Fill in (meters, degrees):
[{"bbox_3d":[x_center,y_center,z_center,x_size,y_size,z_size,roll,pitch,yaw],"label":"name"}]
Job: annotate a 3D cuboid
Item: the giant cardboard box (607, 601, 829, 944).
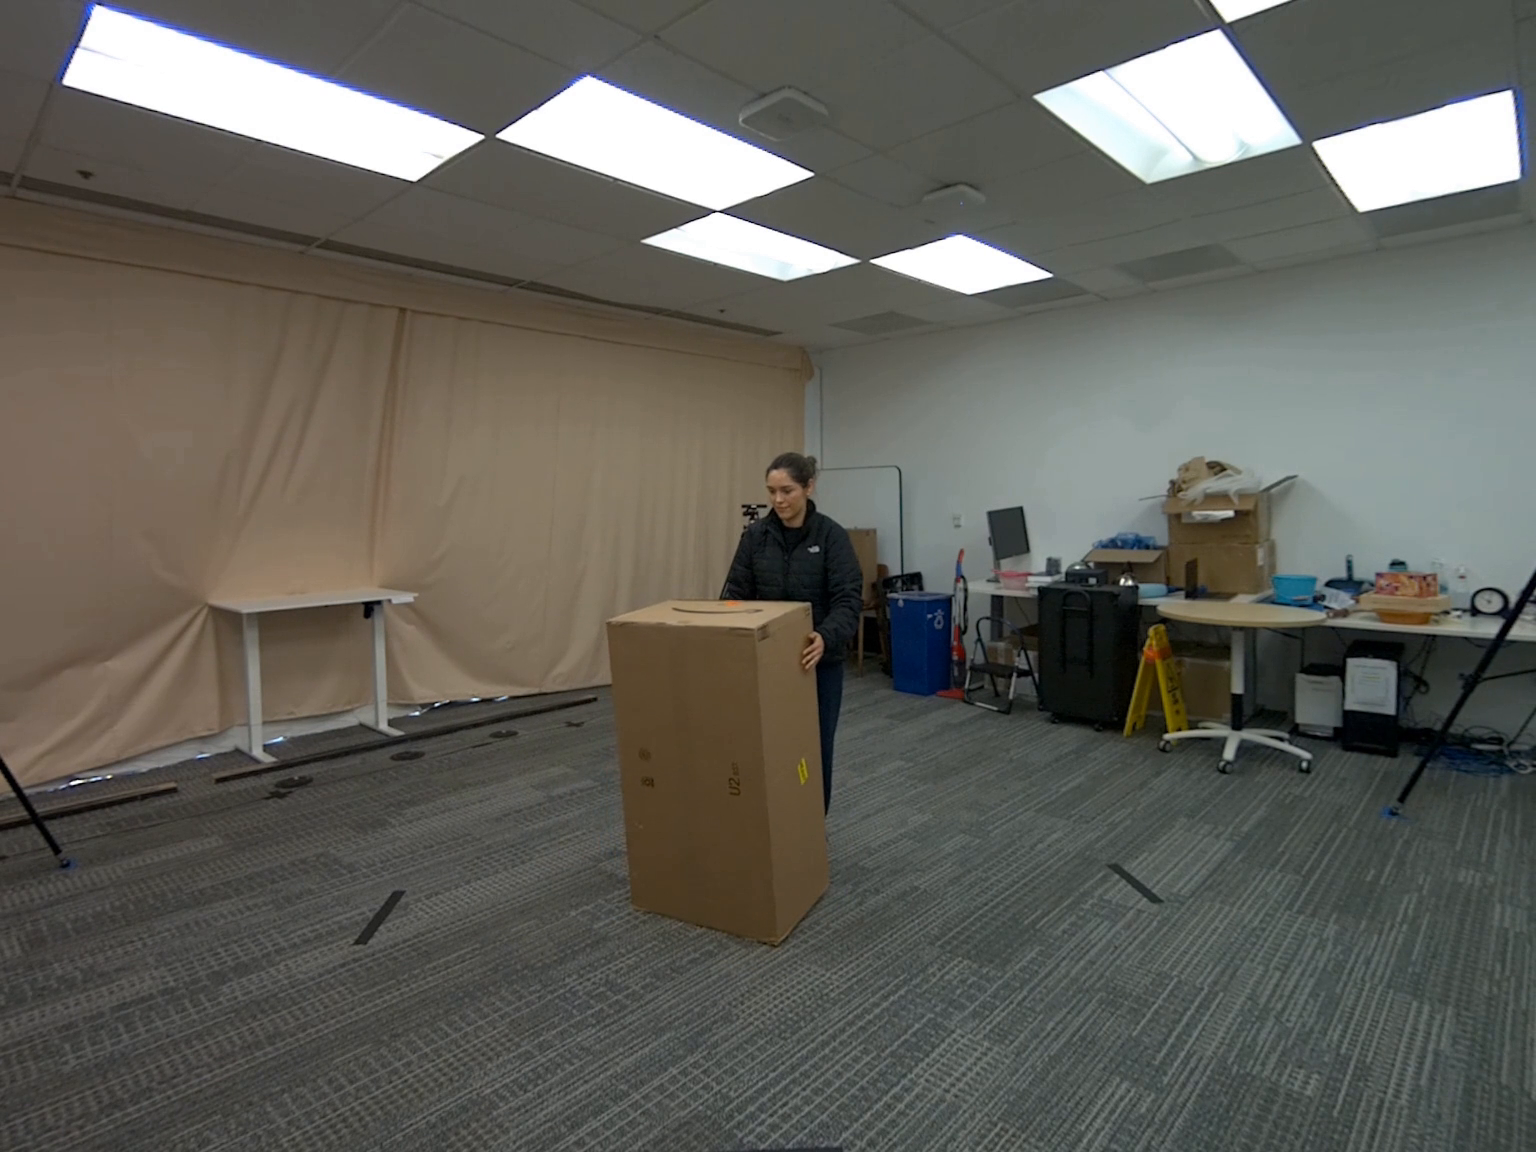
[{"bbox_3d":[-0.153,0.630,2.921,0.594,1.021,0.416,0,7,29],"label":"giant cardboard box"}]
